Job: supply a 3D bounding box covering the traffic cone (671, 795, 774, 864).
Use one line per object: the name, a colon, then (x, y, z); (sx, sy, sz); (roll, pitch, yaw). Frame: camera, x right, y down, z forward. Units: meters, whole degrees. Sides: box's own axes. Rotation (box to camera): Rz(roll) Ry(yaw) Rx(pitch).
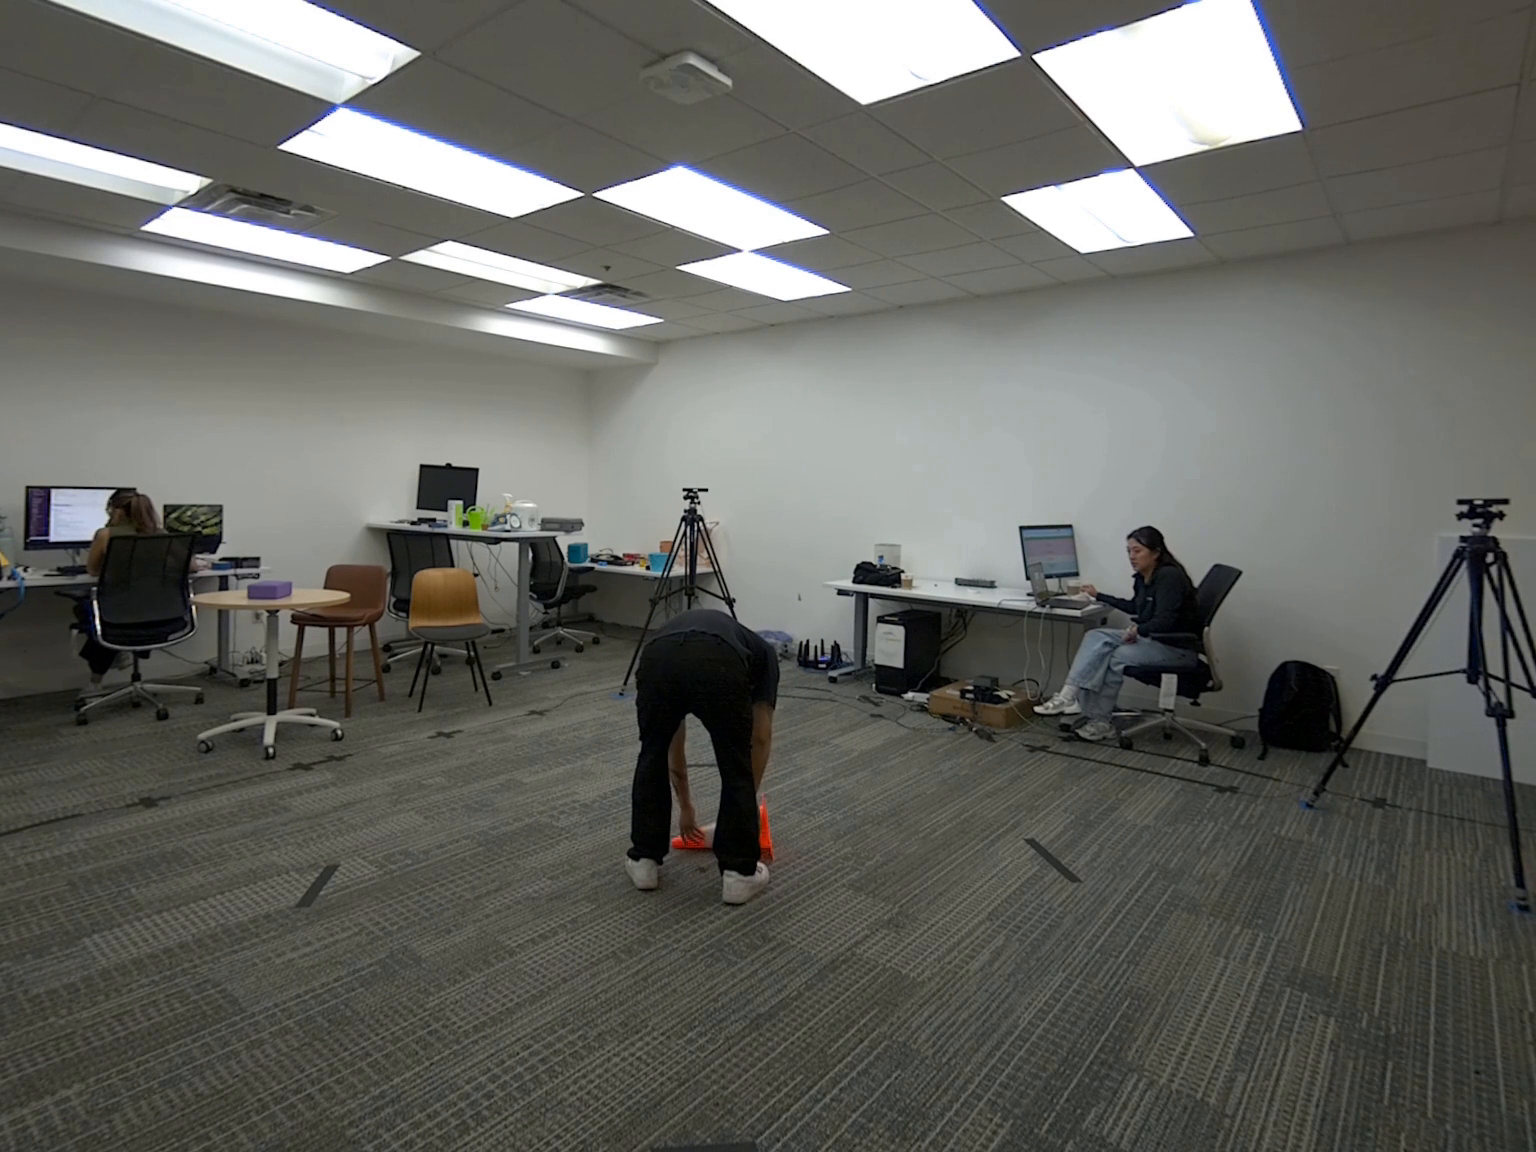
traffic cone: (-0.196, 0.996, 3.292); (0.383, 0.205, 0.204); (-10, 2, -2)
